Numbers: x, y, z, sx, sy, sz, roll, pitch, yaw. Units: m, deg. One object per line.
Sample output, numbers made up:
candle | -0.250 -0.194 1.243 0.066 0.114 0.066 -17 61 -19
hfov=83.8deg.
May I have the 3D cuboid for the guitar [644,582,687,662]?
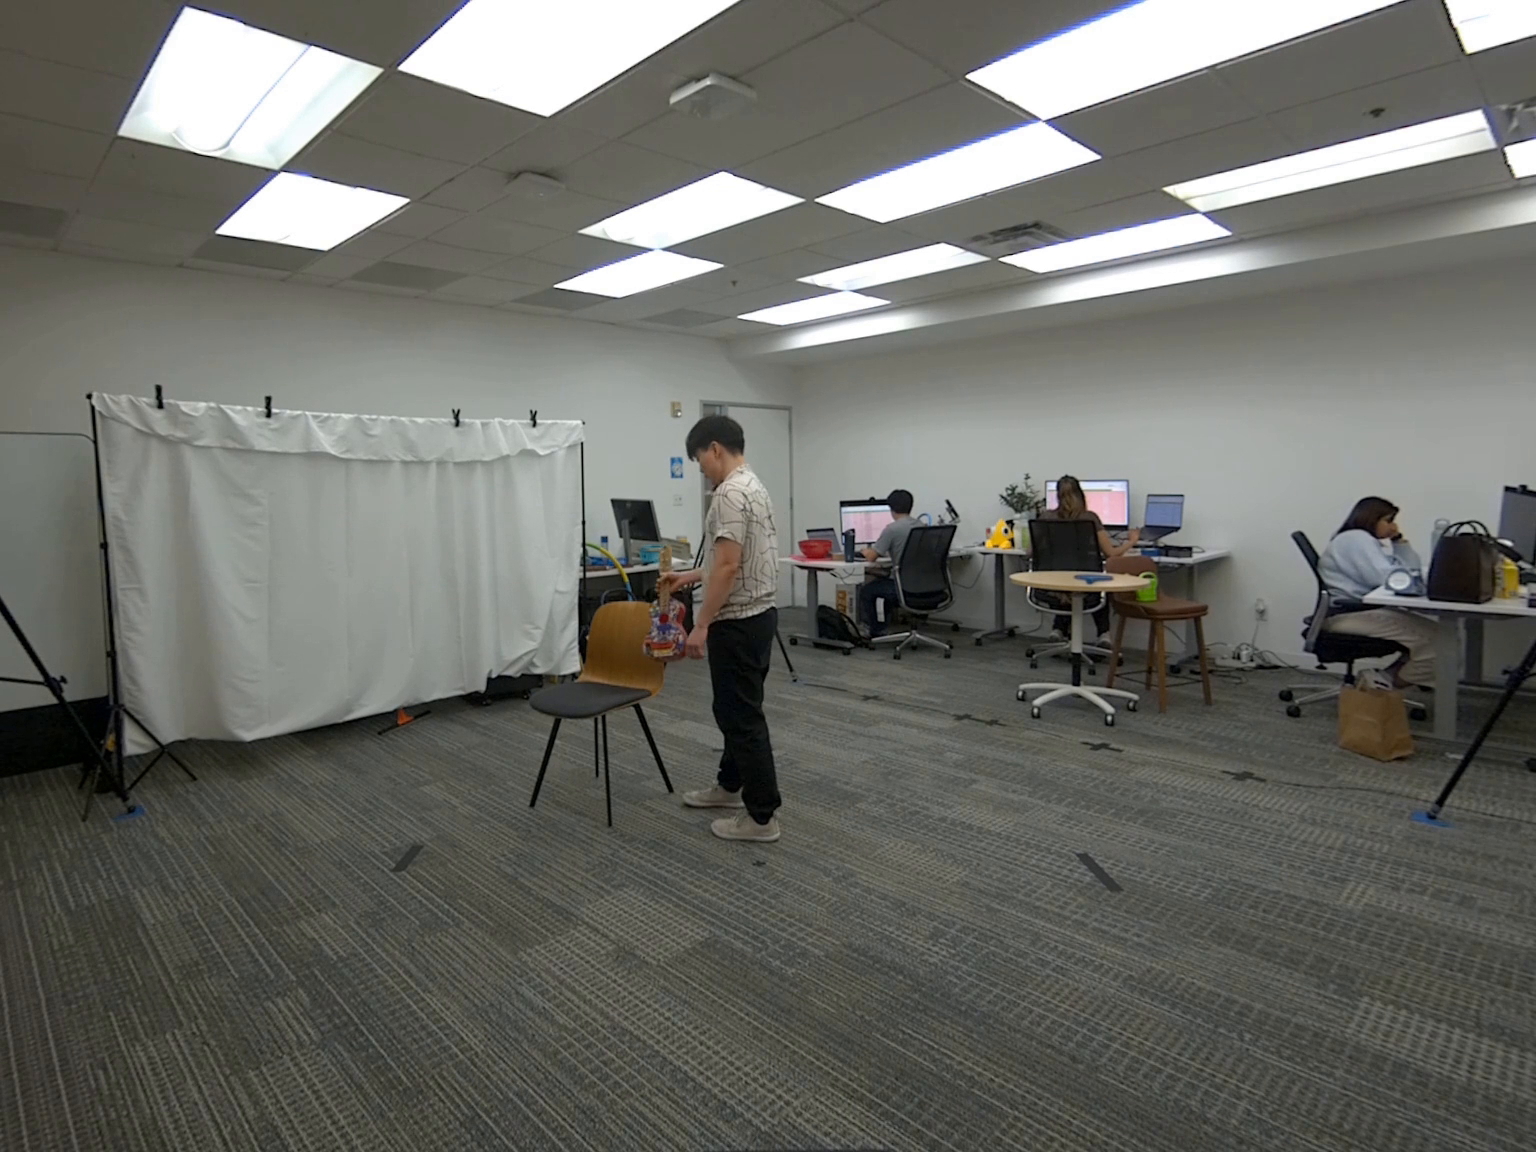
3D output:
guitar | -0.404 0.118 3.668 0.197 0.504 0.068 0 -18 22
